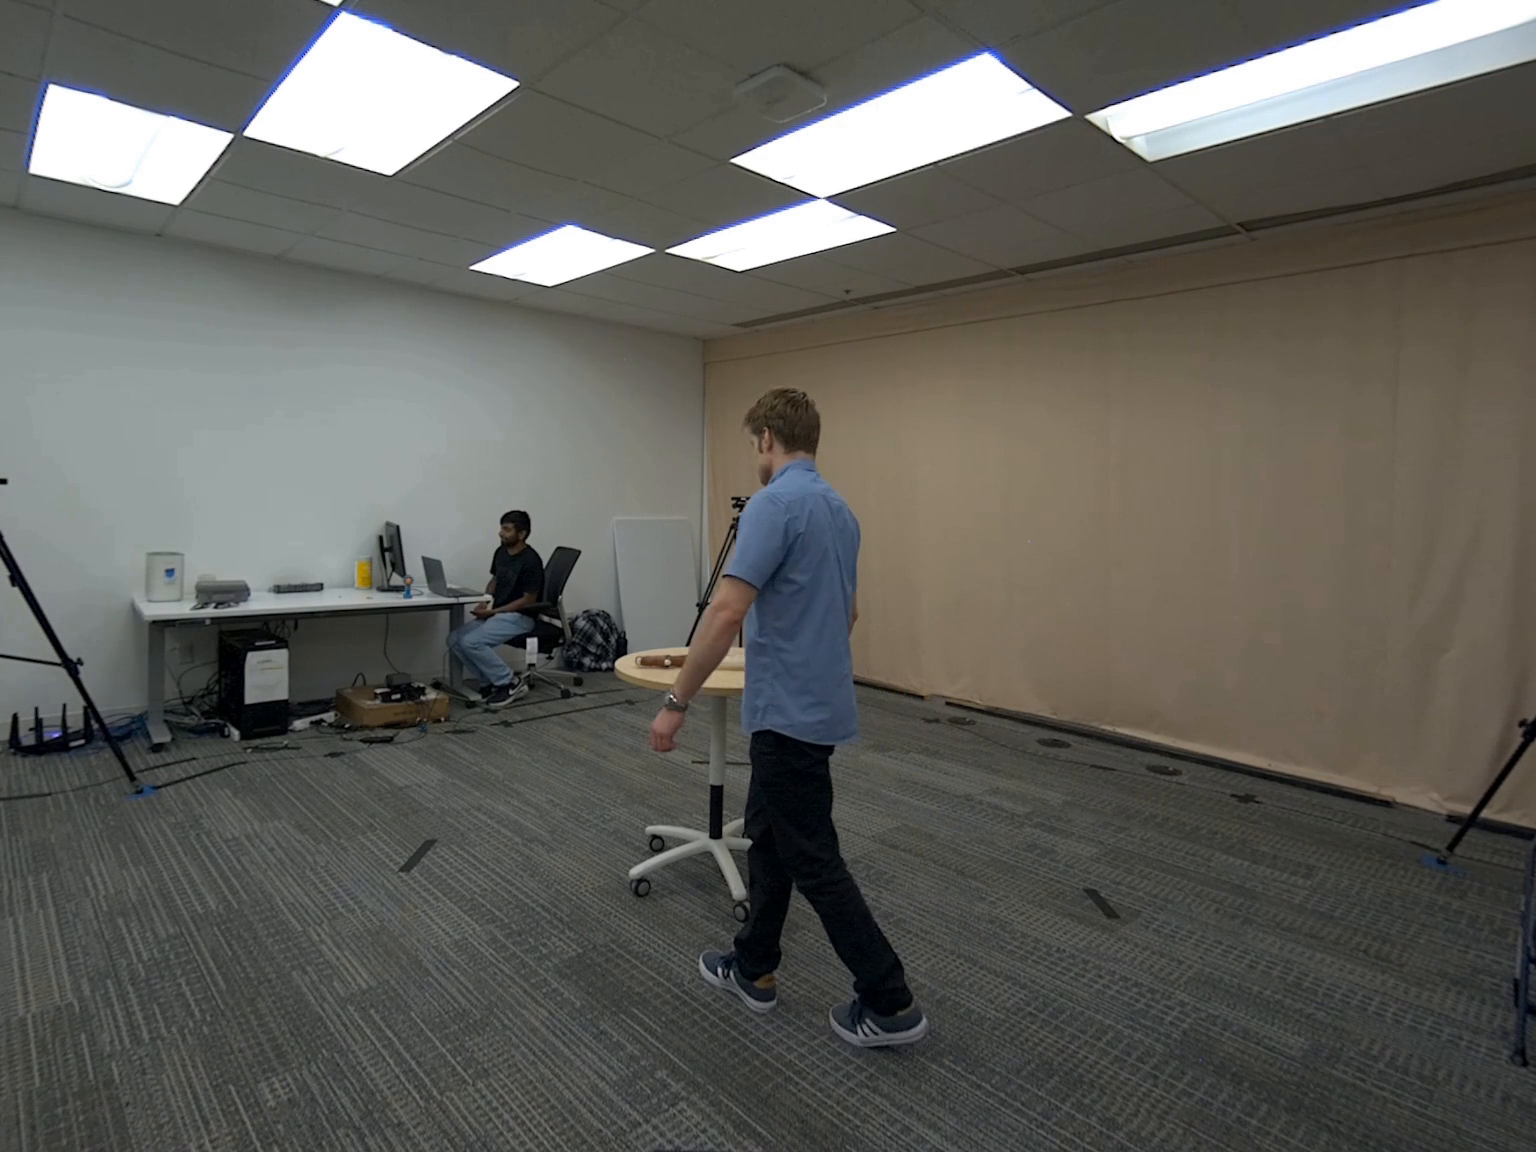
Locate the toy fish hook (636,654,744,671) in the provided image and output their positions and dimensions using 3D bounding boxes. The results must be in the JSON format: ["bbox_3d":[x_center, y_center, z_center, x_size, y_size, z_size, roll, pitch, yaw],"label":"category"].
[{"bbox_3d":[-0.223,0.316,3.052,0.504,0.048,0.225,2,-3,-6],"label":"toy fish hook"}]
